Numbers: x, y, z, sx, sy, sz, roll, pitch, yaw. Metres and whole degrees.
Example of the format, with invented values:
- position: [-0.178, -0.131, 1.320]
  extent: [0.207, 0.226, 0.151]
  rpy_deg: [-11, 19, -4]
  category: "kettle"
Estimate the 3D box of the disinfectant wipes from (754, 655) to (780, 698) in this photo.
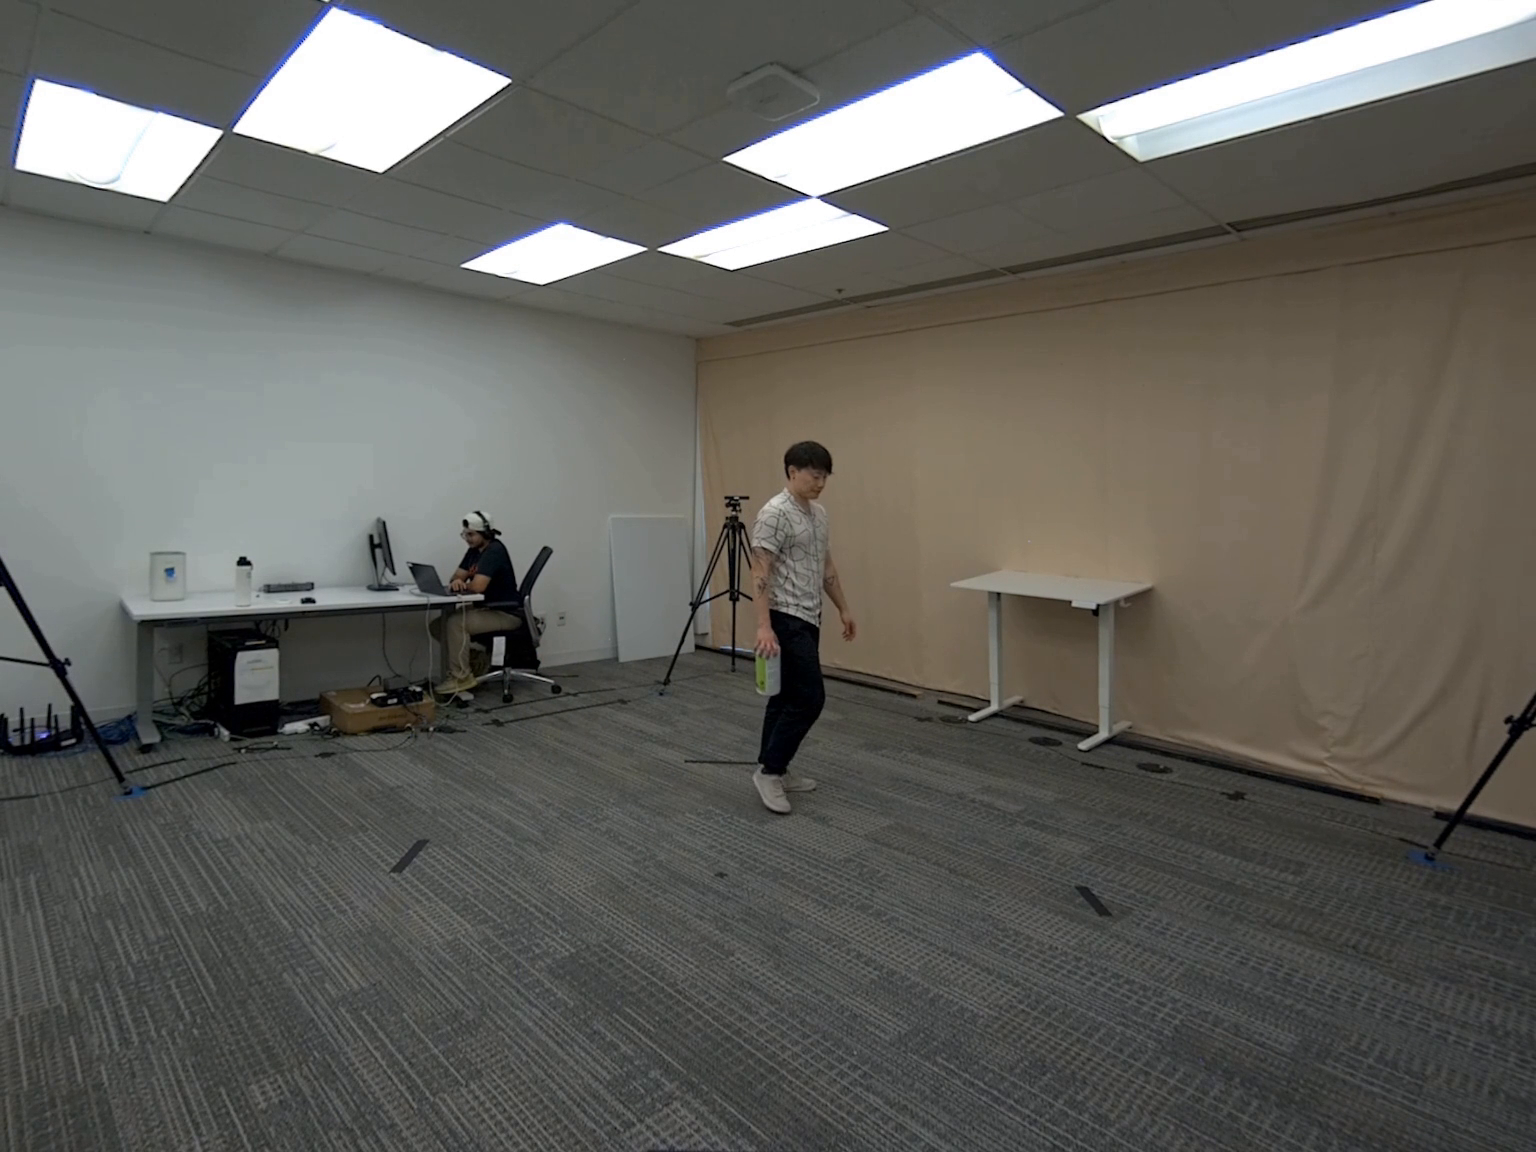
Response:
- position: [-0.005, 0.418, 3.735]
  extent: [0.118, 0.215, 0.119]
  rpy_deg: [0, 13, -1]
  category: "disinfectant wipes"
